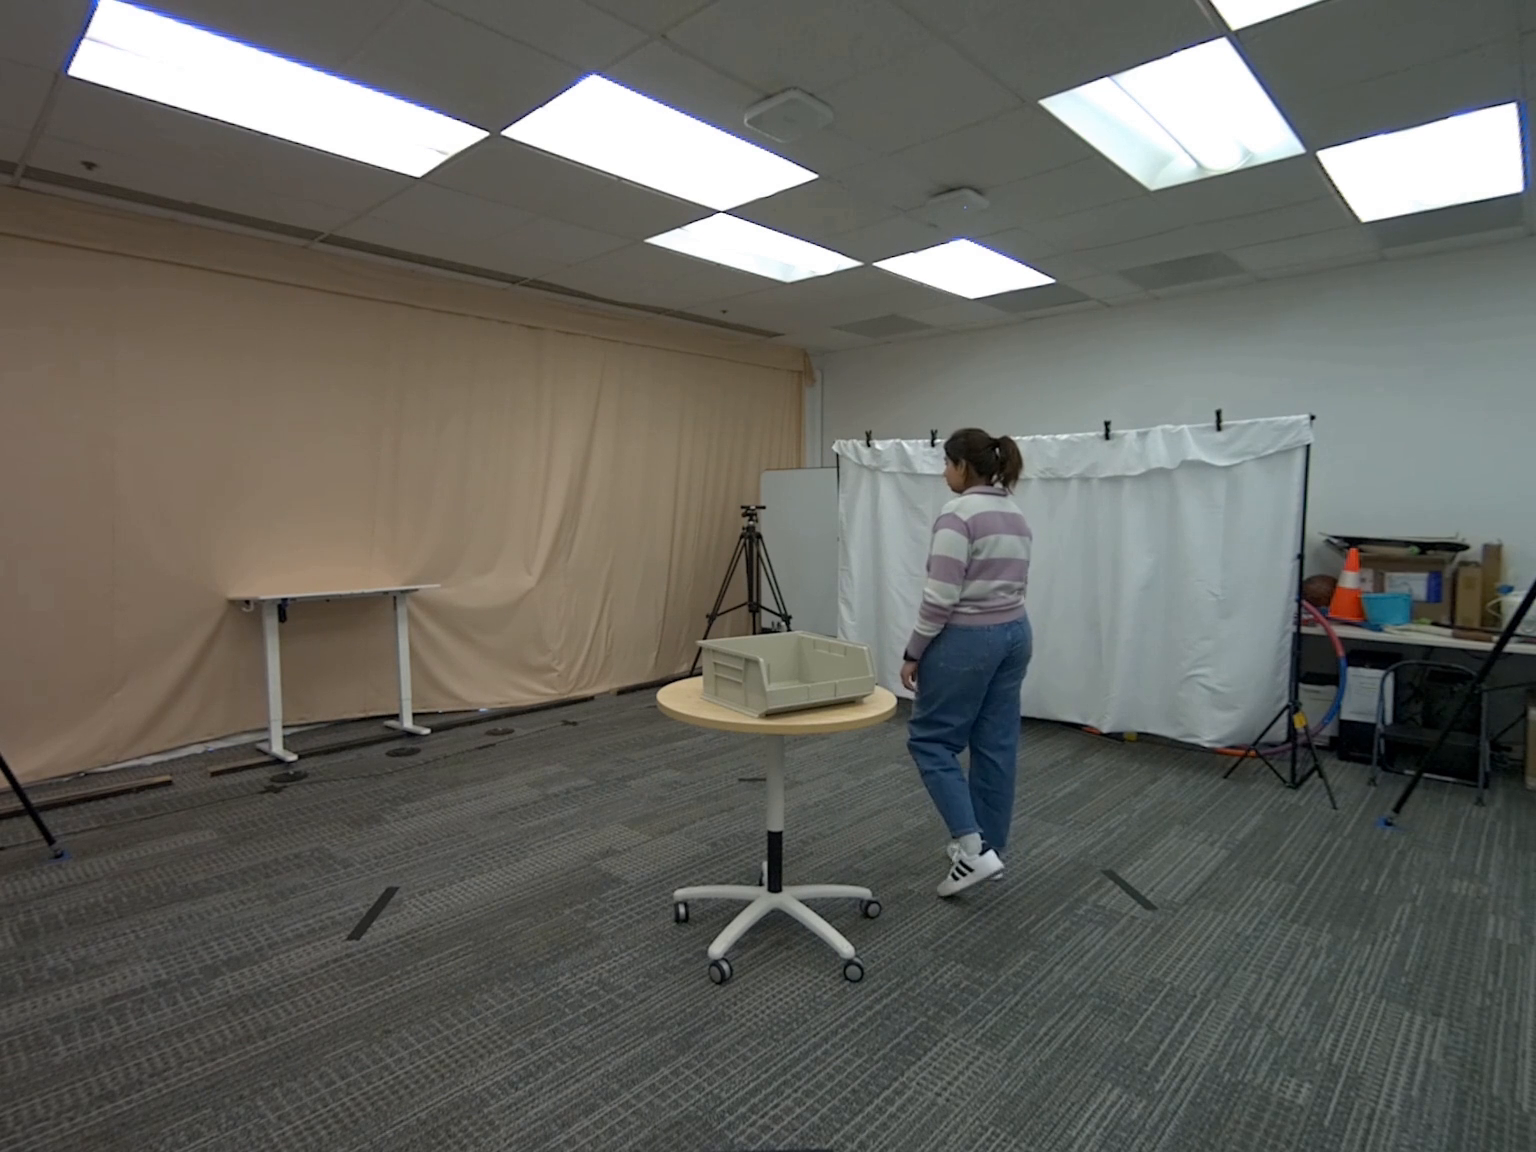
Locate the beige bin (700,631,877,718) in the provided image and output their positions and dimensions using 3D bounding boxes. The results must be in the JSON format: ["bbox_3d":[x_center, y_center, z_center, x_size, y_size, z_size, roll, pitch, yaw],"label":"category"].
[{"bbox_3d":[0.059,0.304,2.614,0.410,0.189,0.389,-3,4,-34],"label":"beige bin"}]
